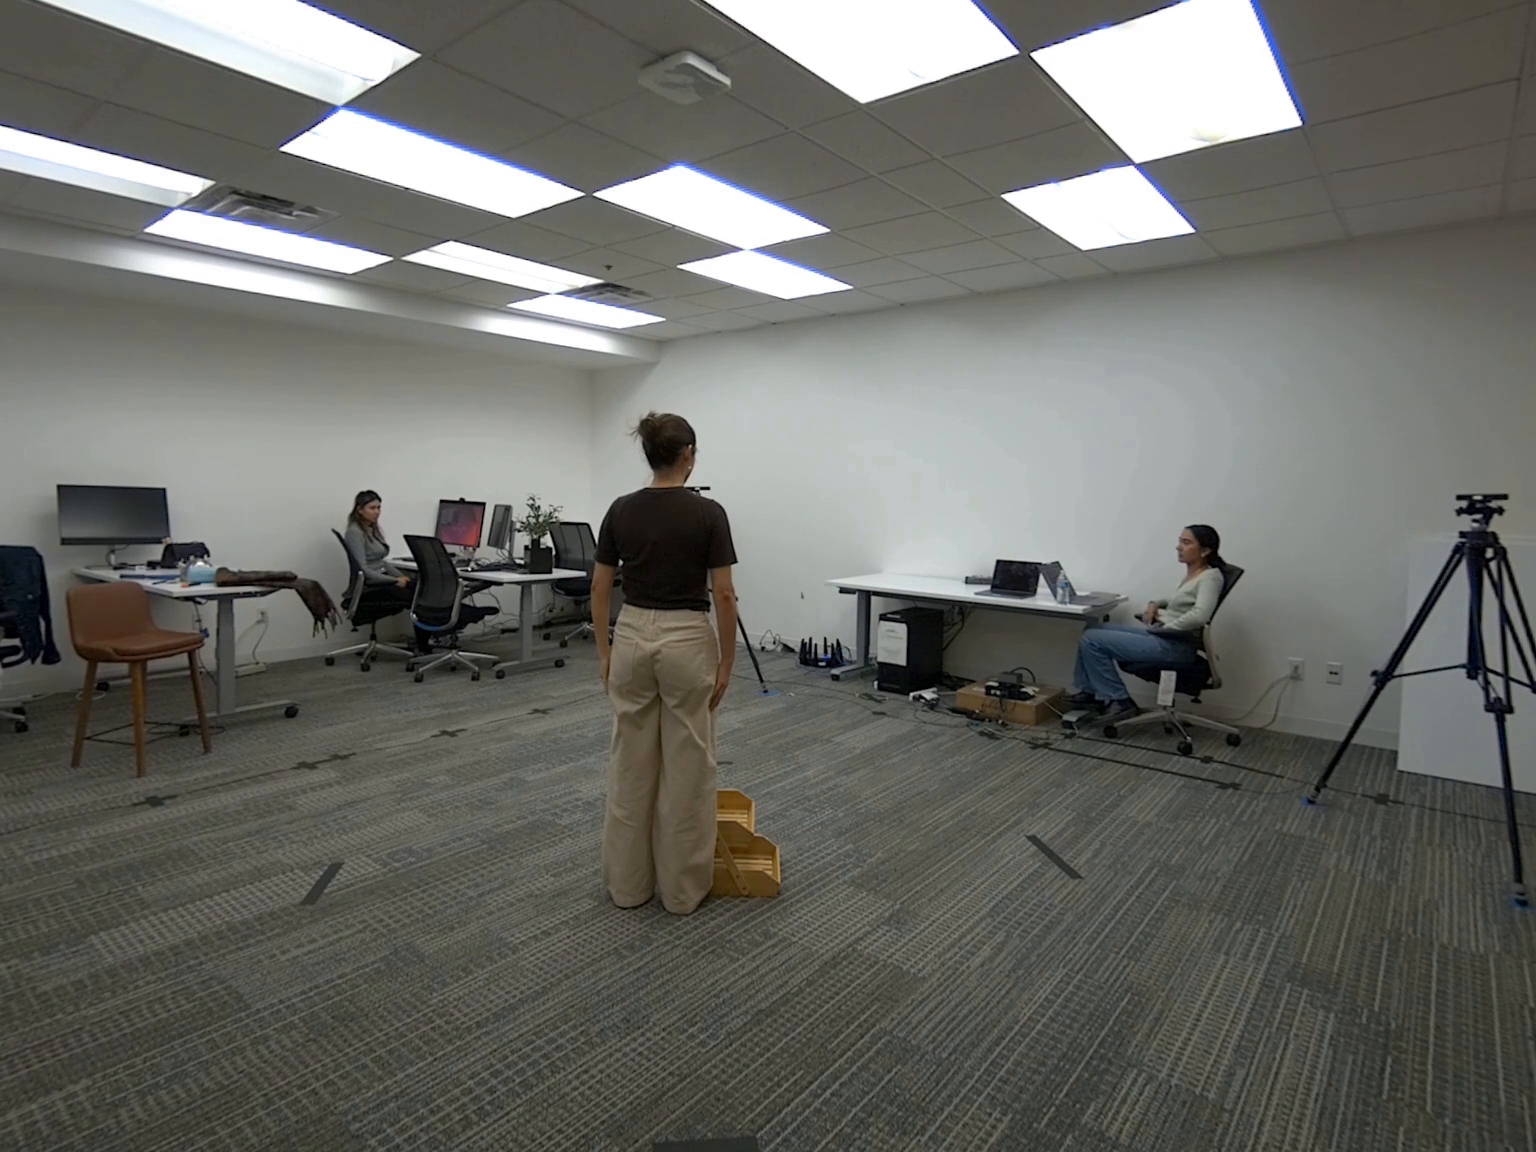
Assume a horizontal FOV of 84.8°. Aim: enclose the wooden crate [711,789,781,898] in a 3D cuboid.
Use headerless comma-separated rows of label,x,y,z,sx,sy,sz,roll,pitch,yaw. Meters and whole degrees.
wooden crate,-0.113,0.938,3.042,0.303,0.272,0.325,-1,5,1
